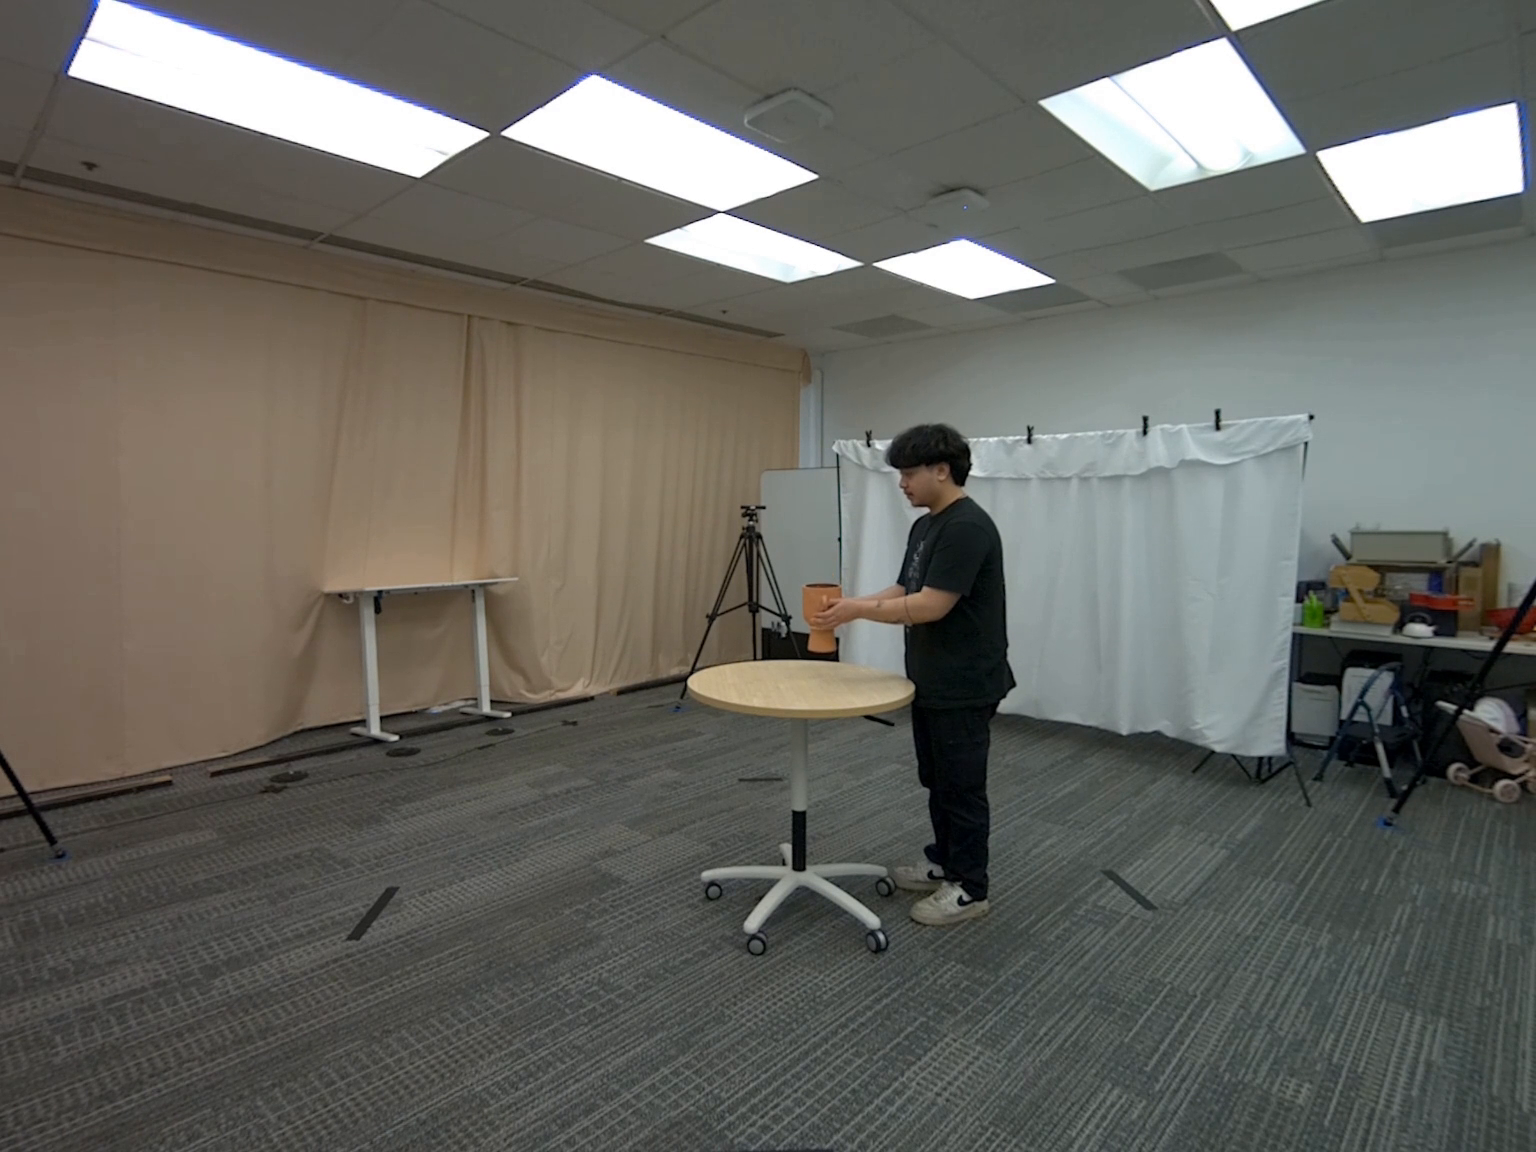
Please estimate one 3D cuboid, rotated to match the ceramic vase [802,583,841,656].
[{"bbox_3d":[0.194,0.147,2.883,0.139,0.219,0.154,6,9,39],"label":"ceramic vase"}]
